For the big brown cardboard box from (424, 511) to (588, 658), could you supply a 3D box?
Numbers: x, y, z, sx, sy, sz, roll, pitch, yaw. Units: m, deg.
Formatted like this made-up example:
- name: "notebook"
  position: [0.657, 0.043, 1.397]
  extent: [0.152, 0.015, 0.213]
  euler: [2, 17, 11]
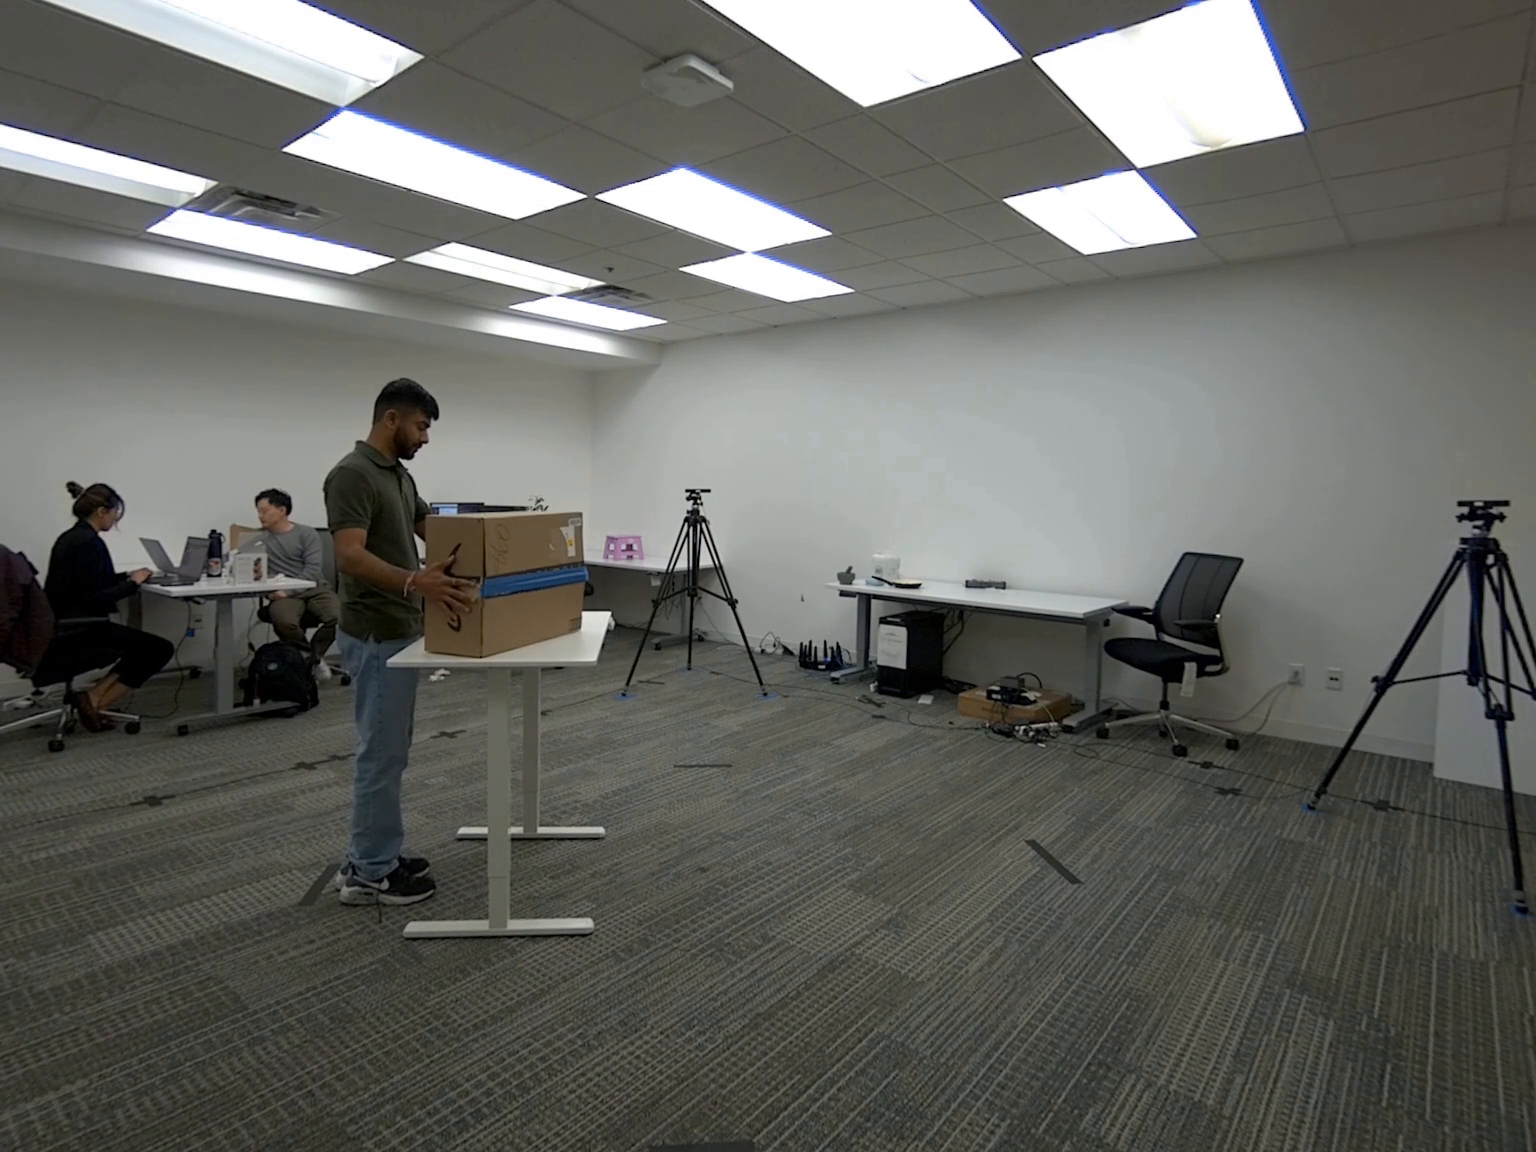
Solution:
- name: "big brown cardboard box"
  position: [-0.860, -0.004, 2.802]
  extent: [0.238, 0.416, 0.578]
  euler: [1, 5, 20]
